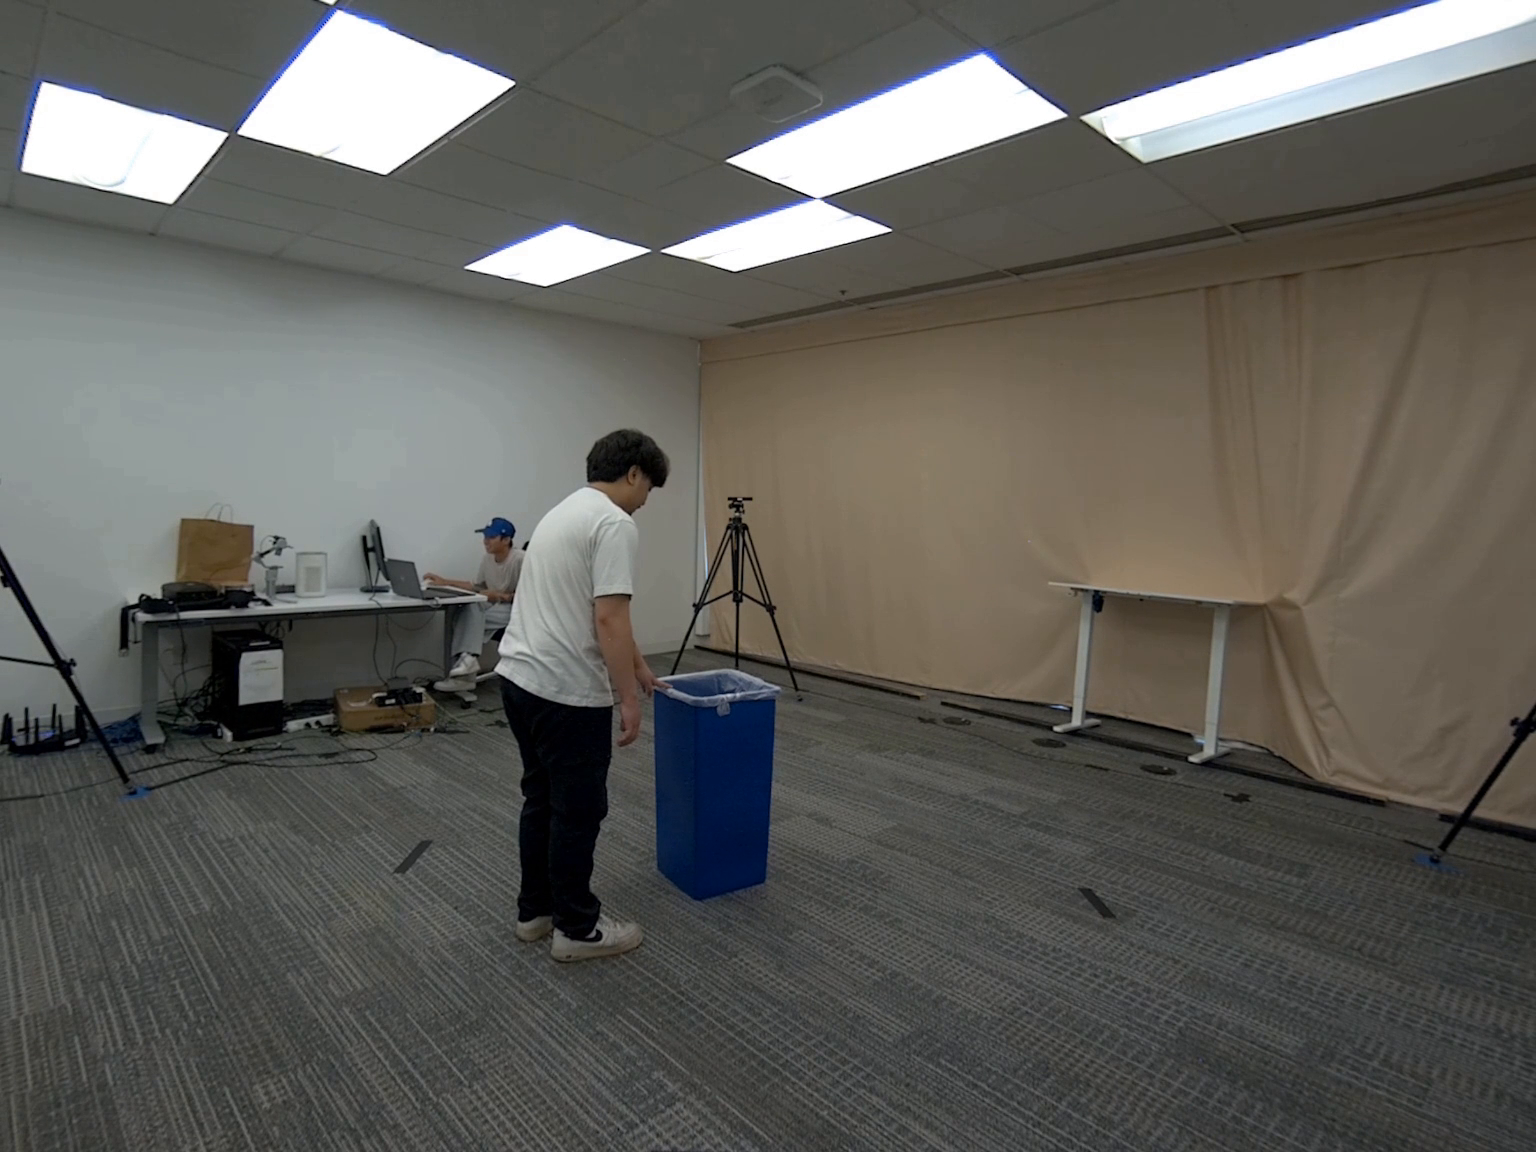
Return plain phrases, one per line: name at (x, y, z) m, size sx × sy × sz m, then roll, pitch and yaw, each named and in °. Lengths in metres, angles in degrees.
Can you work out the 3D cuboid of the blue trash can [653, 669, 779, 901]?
blue trash can at (-0.215, 0.747, 3.096) m, size 0.370 × 0.712 × 0.383 m, roll -1°, pitch 4°, yaw -34°
